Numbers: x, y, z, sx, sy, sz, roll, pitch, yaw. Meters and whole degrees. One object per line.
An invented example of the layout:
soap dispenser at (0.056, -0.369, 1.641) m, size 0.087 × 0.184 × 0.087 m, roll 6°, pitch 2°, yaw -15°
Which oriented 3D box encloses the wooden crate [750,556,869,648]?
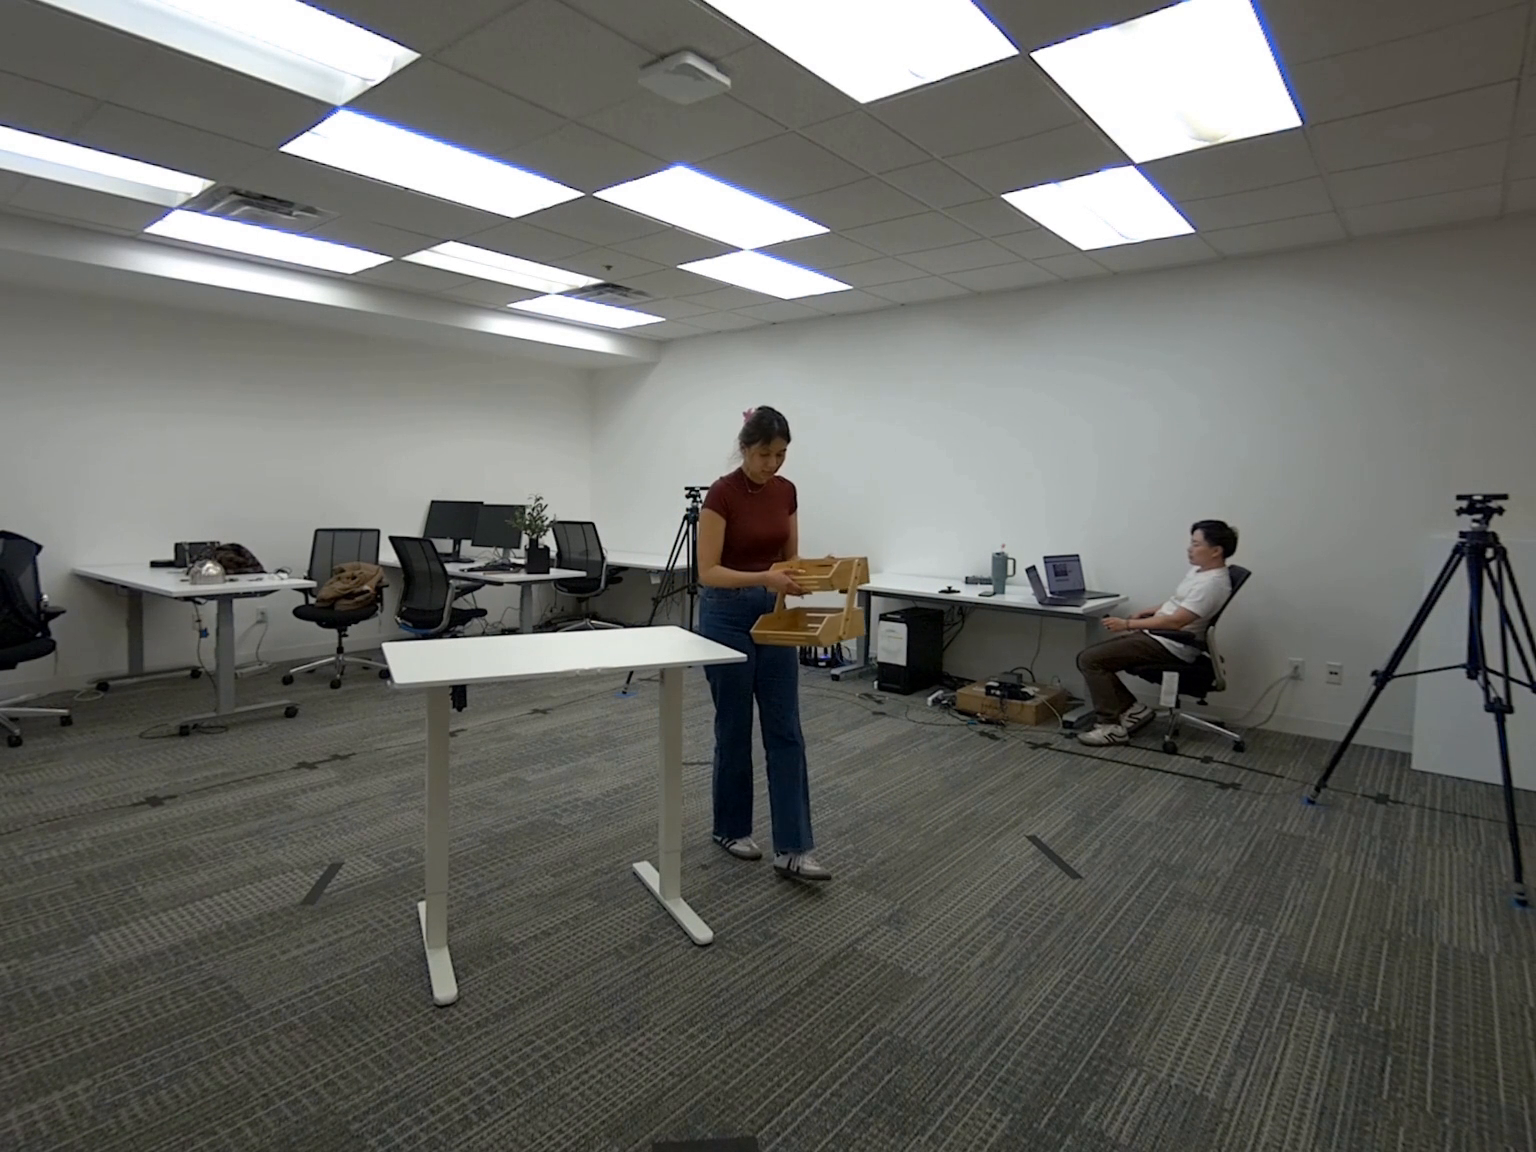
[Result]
wooden crate at (0.133, 0.080, 2.896) m, size 0.334 × 0.273 × 0.294 m, roll -2°, pitch 5°, yaw 43°
